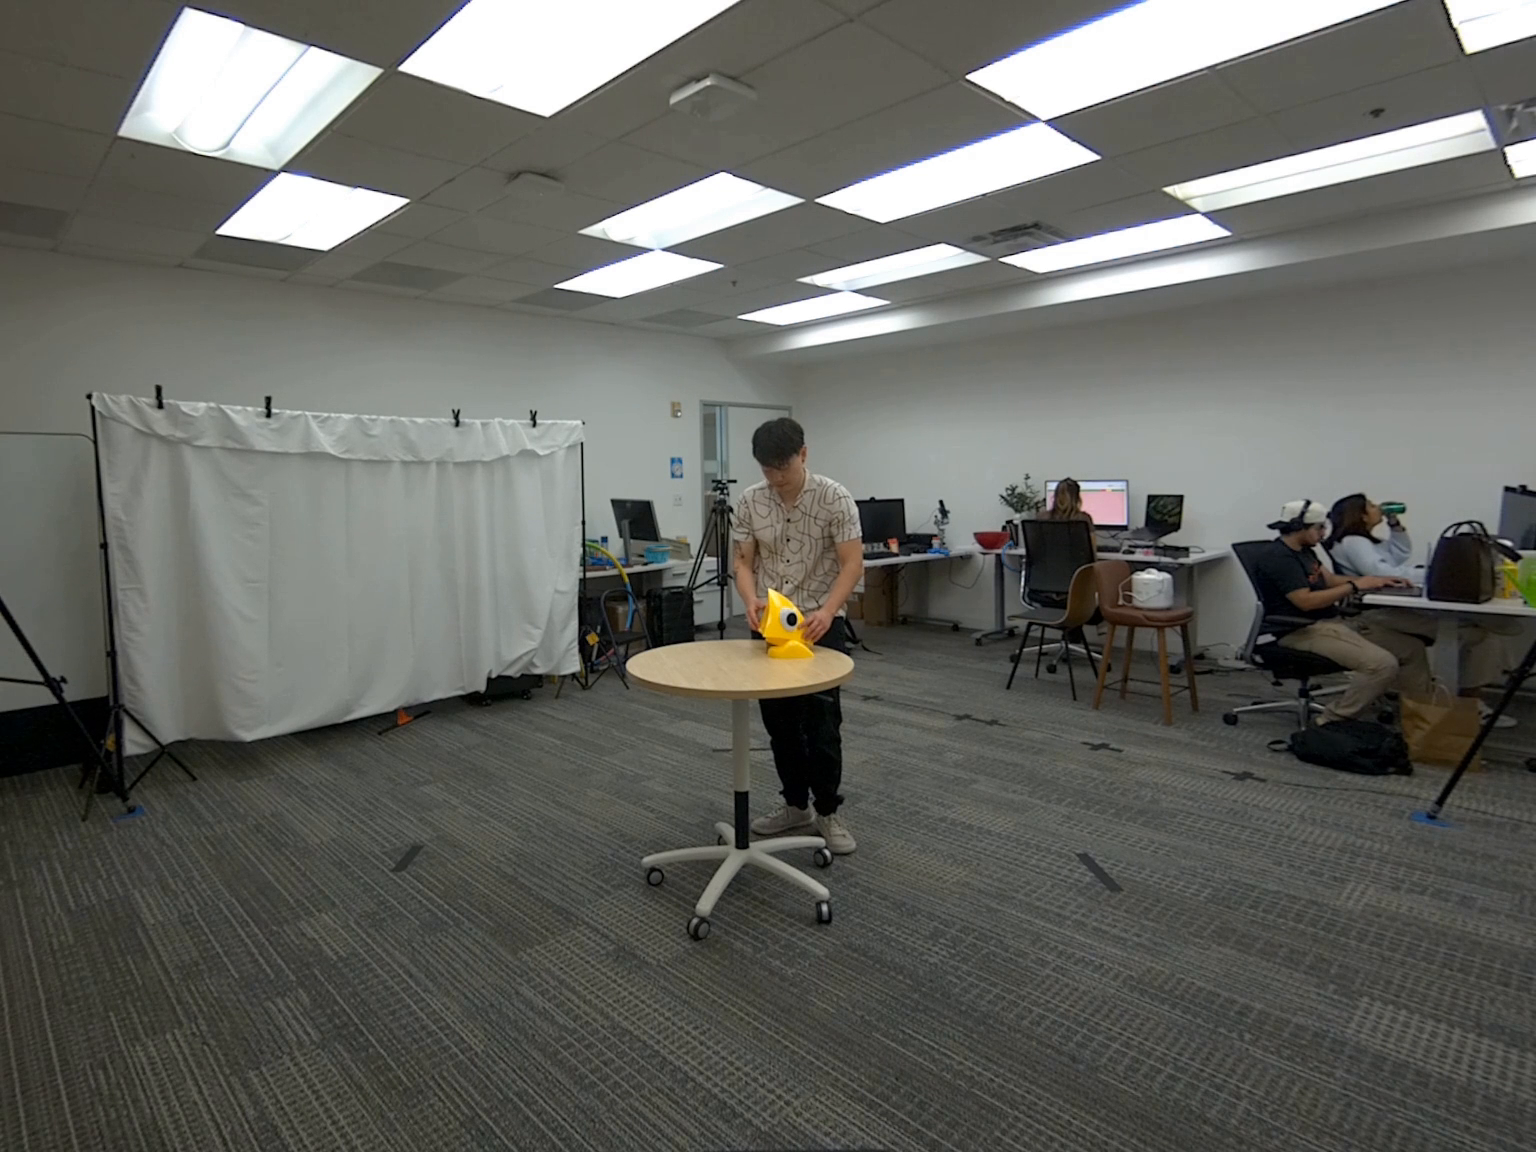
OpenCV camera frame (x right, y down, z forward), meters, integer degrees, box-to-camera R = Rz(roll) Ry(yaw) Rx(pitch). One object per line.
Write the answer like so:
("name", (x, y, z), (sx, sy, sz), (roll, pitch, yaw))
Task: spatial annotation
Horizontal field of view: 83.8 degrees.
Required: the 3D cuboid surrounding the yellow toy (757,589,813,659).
("yellow toy", (0.058, 0.161, 3.020), (0.192, 0.230, 0.206), (-1, 5, -4))
